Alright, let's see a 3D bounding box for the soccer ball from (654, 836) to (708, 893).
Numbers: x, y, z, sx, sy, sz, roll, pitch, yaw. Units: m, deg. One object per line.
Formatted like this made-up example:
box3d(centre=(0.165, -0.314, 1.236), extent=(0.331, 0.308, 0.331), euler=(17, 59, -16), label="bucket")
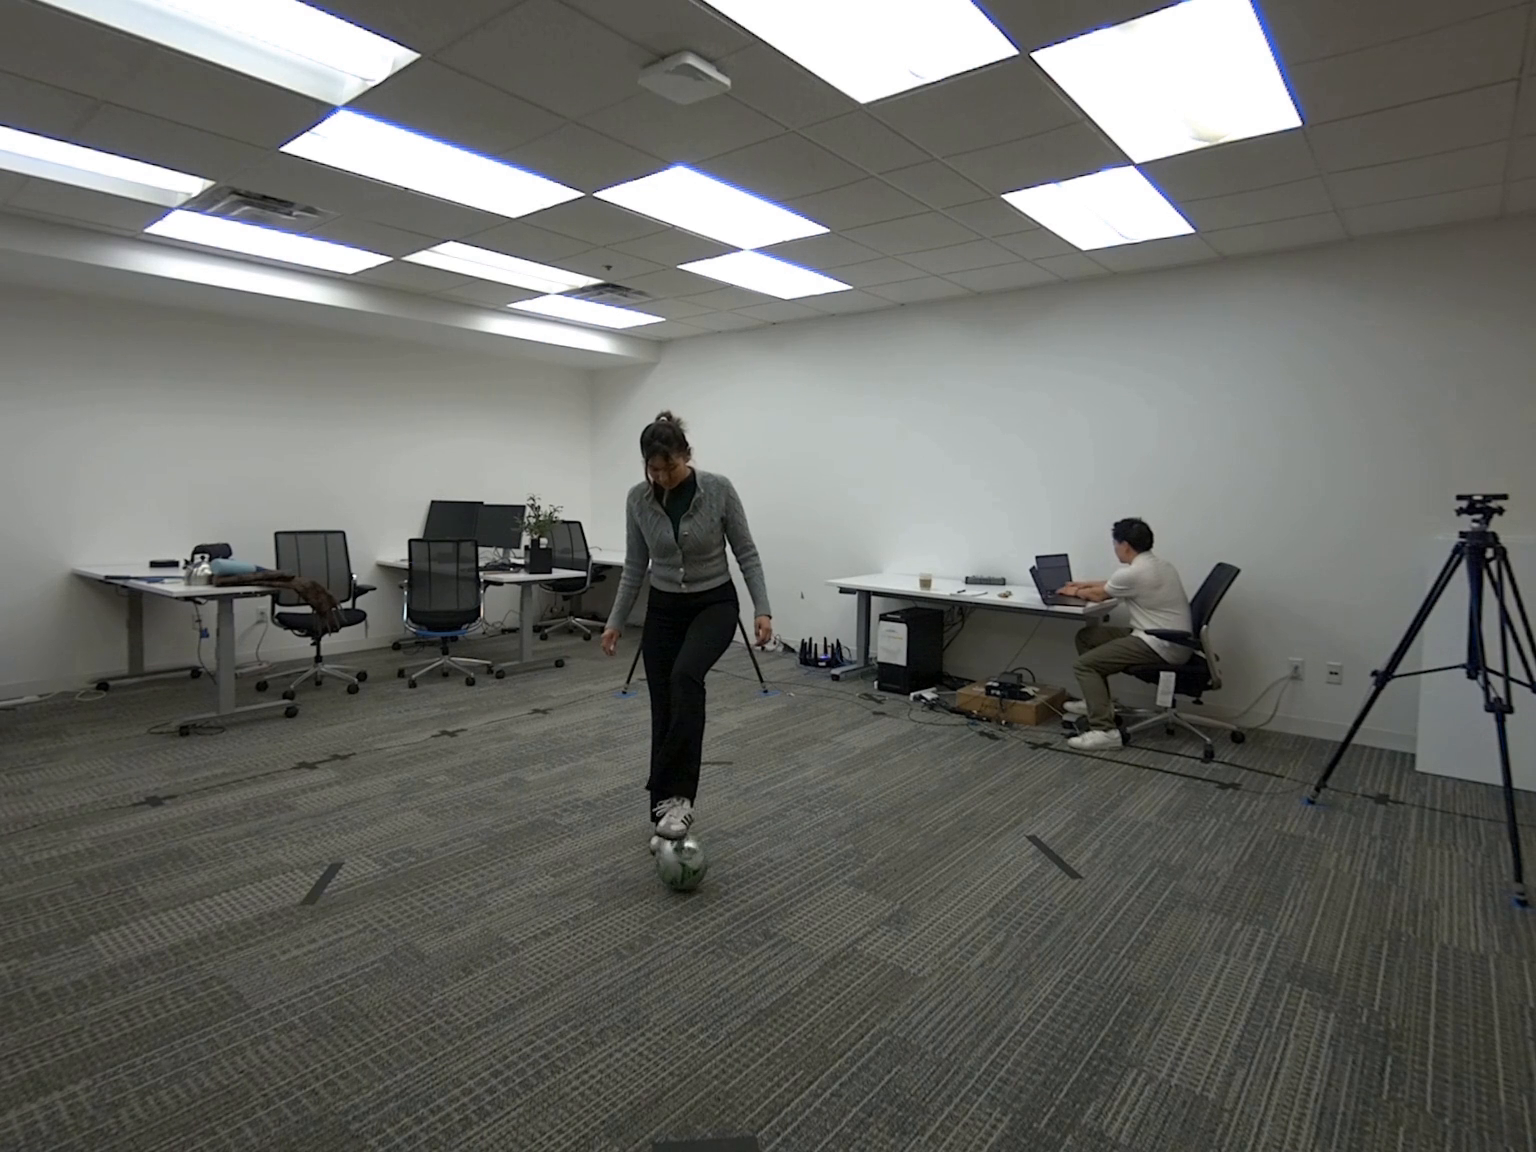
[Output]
box3d(centre=(-0.303, 0.985, 2.957), extent=(0.187, 0.187, 0.188), euler=(1, 4, -2), label="soccer ball")
